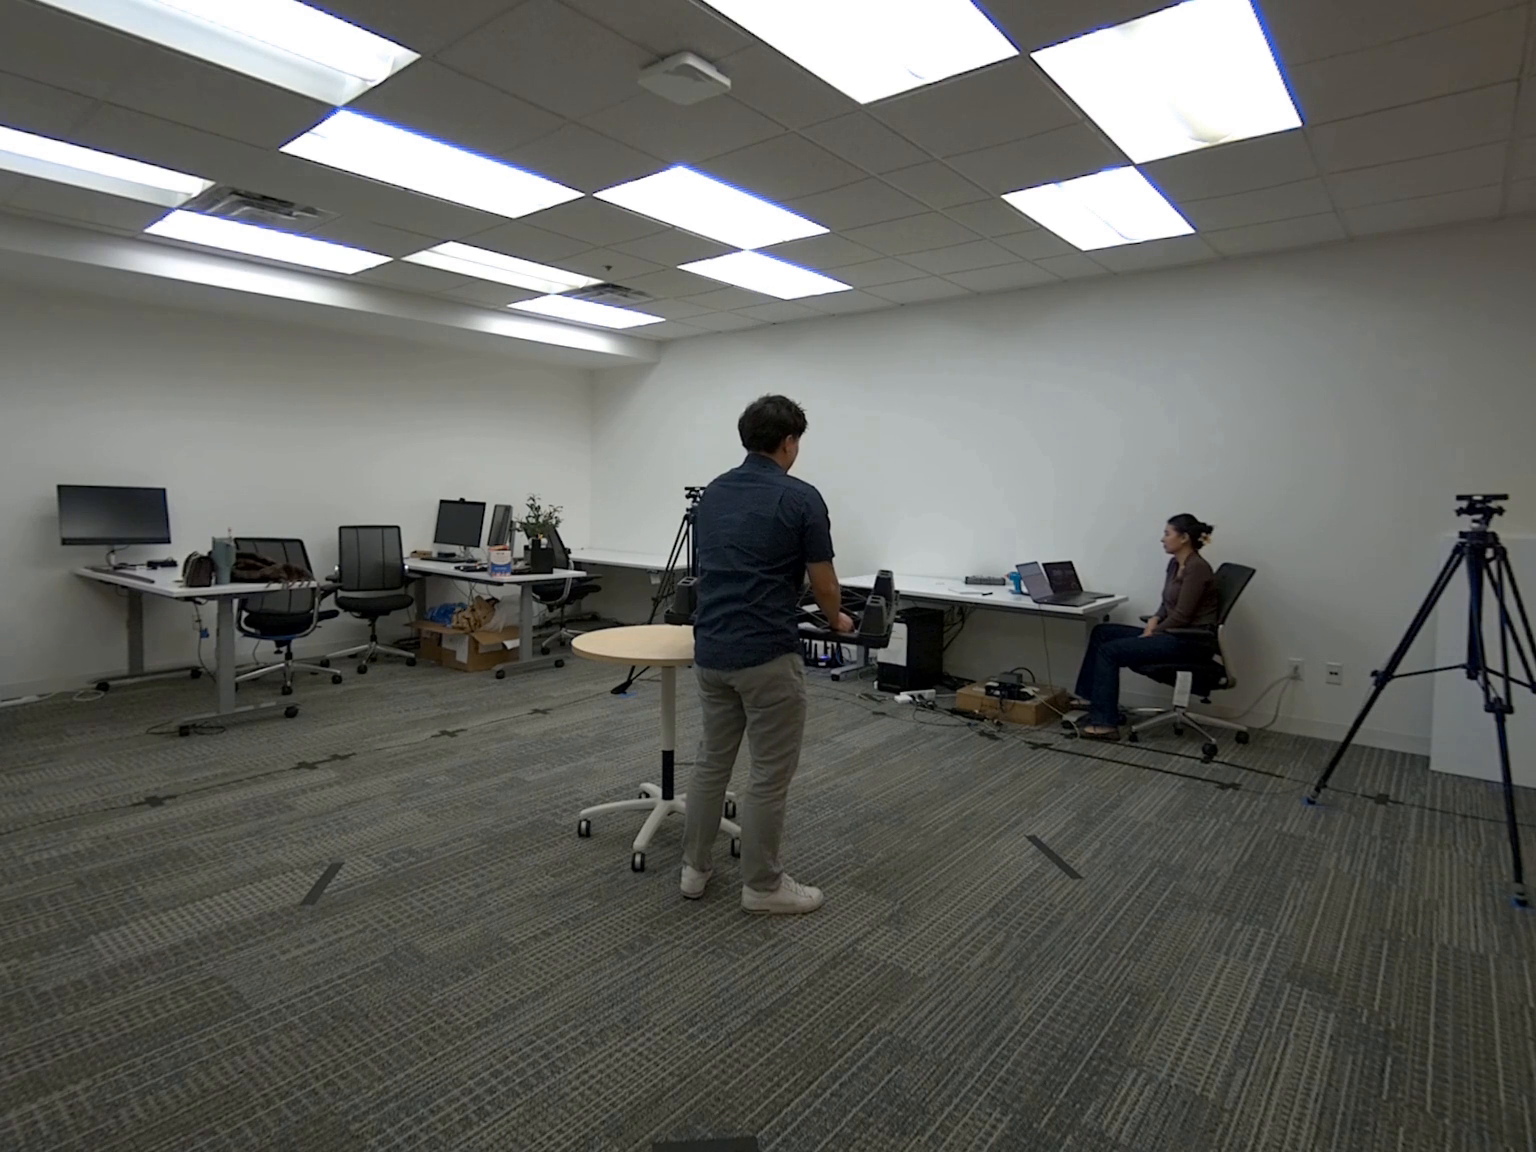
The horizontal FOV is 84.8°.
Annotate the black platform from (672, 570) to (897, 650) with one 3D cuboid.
[{"bbox_3d":[0.073,0.071,3.211,0.819,0.141,0.604,5,17,14],"label":"black platform"}]
